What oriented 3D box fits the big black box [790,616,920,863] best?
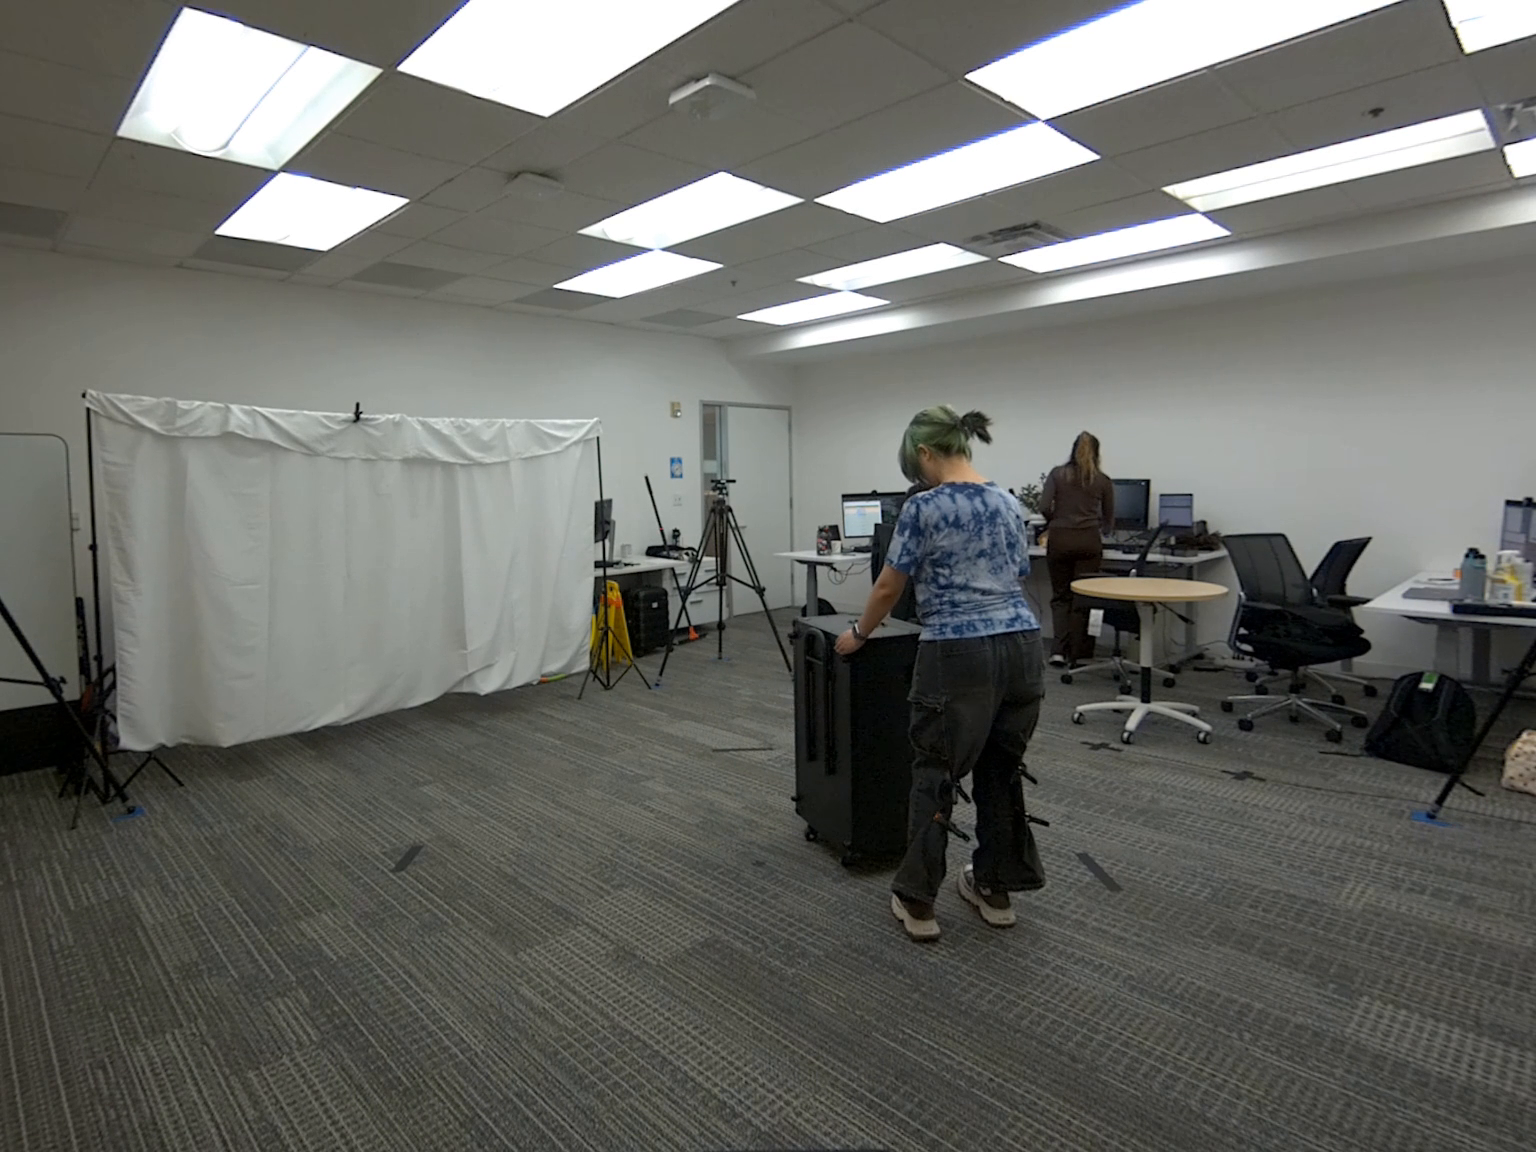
[{"bbox_3d":[0.349,0.608,3.192,0.389,0.858,0.532,-3,5,-20],"label":"big black box"}]
